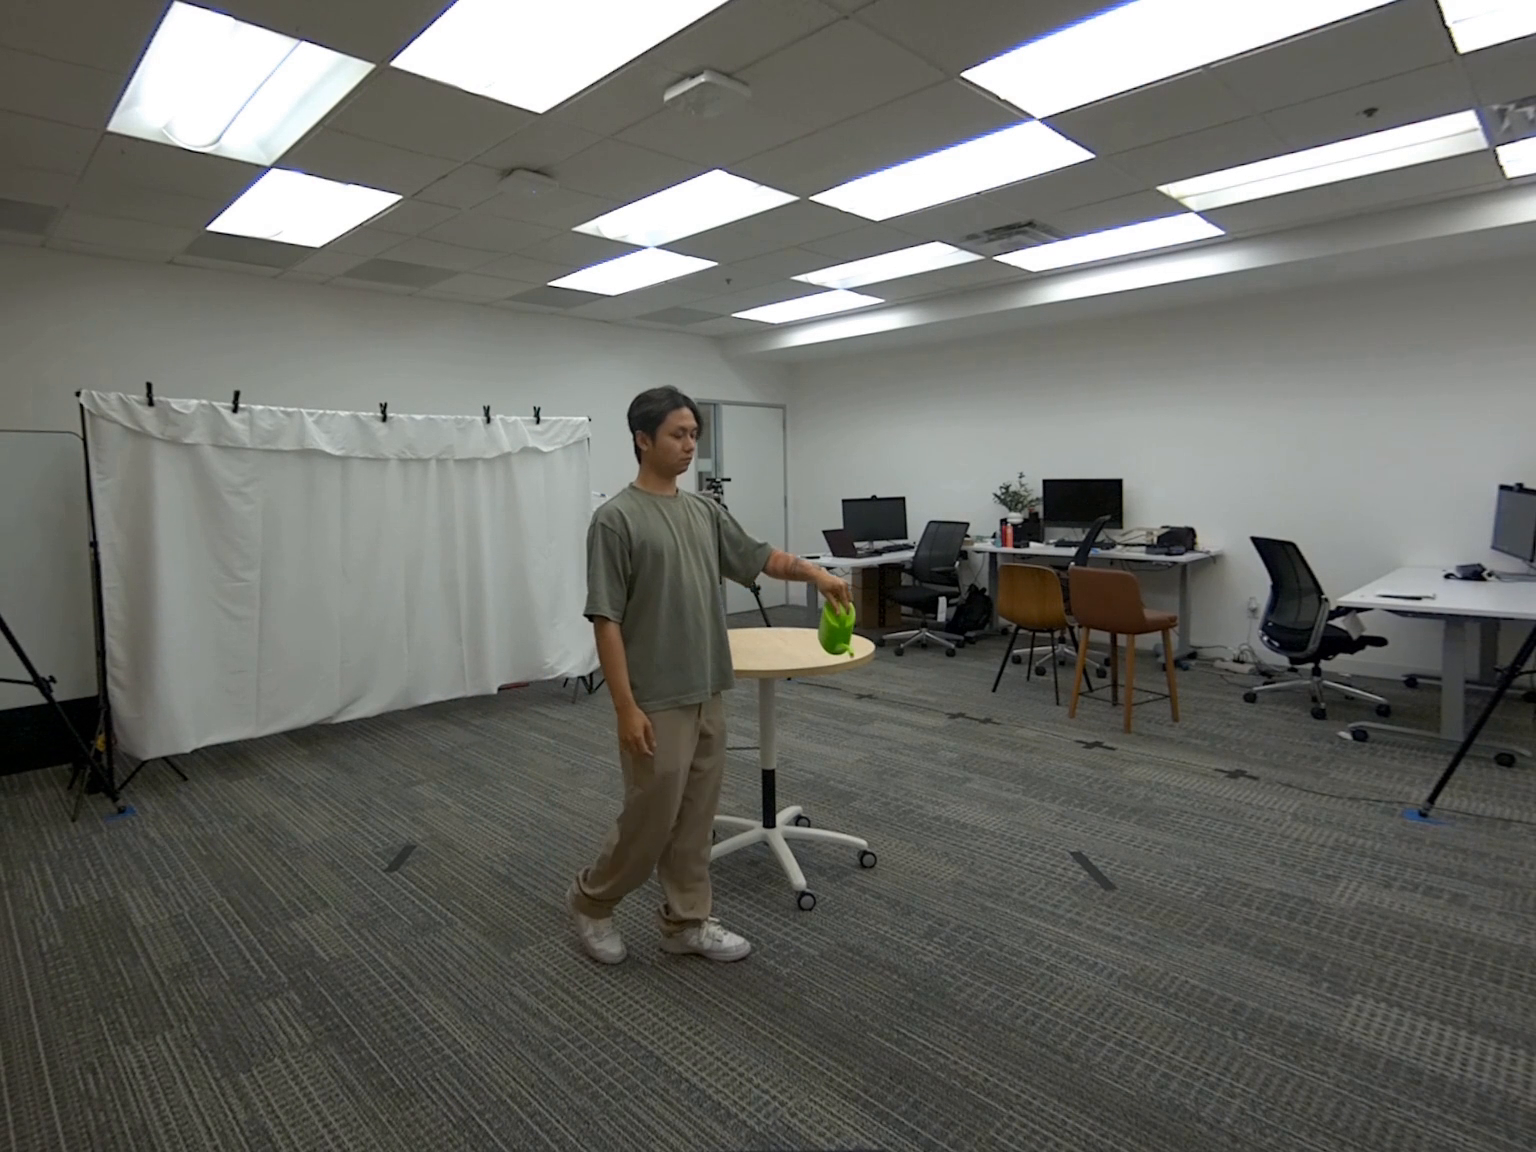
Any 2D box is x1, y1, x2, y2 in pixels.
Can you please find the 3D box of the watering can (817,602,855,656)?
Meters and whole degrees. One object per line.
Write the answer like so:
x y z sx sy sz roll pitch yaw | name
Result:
0.193 0.165 2.460 0.099 0.172 0.284 8 48 5 | watering can
